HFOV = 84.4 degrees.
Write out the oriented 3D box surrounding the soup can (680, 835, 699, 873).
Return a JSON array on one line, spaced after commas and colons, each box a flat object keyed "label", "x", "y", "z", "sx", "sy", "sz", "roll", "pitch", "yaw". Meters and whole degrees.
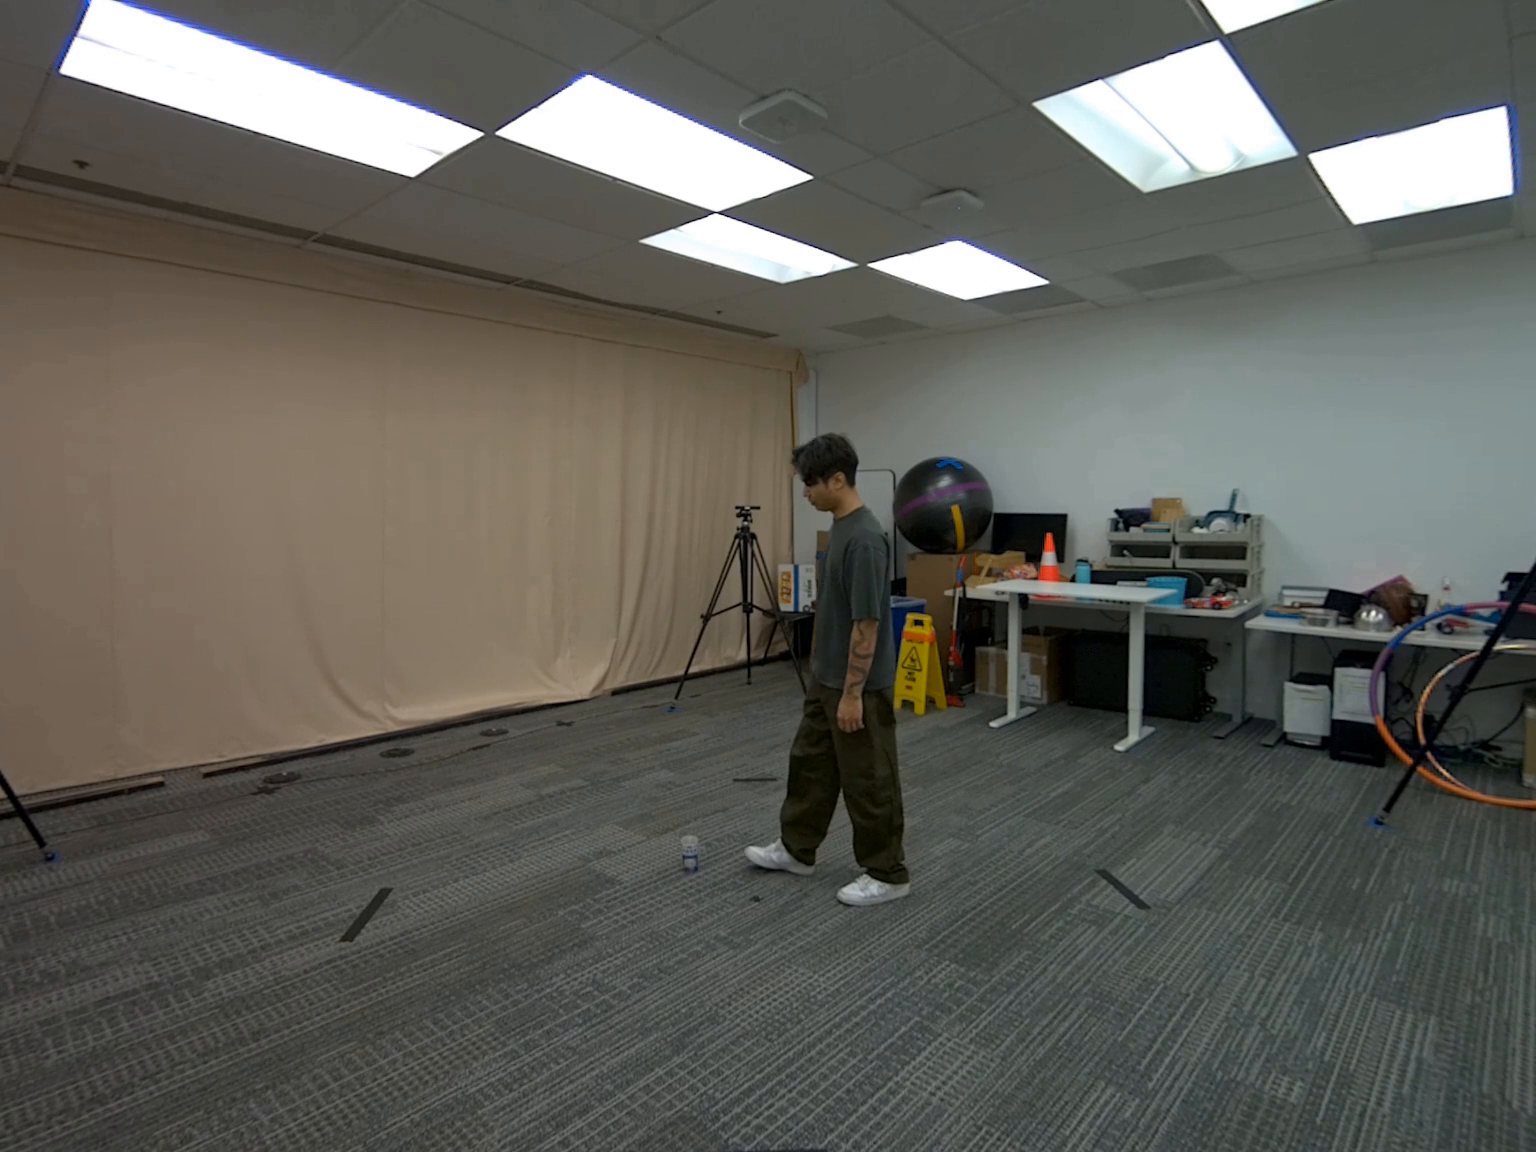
[{"label": "soup can", "x": -0.294, "y": 1.071, "z": 3.230, "sx": 0.067, "sy": 0.121, "sz": 0.067, "roll": 1, "pitch": 3, "yaw": -2}]
